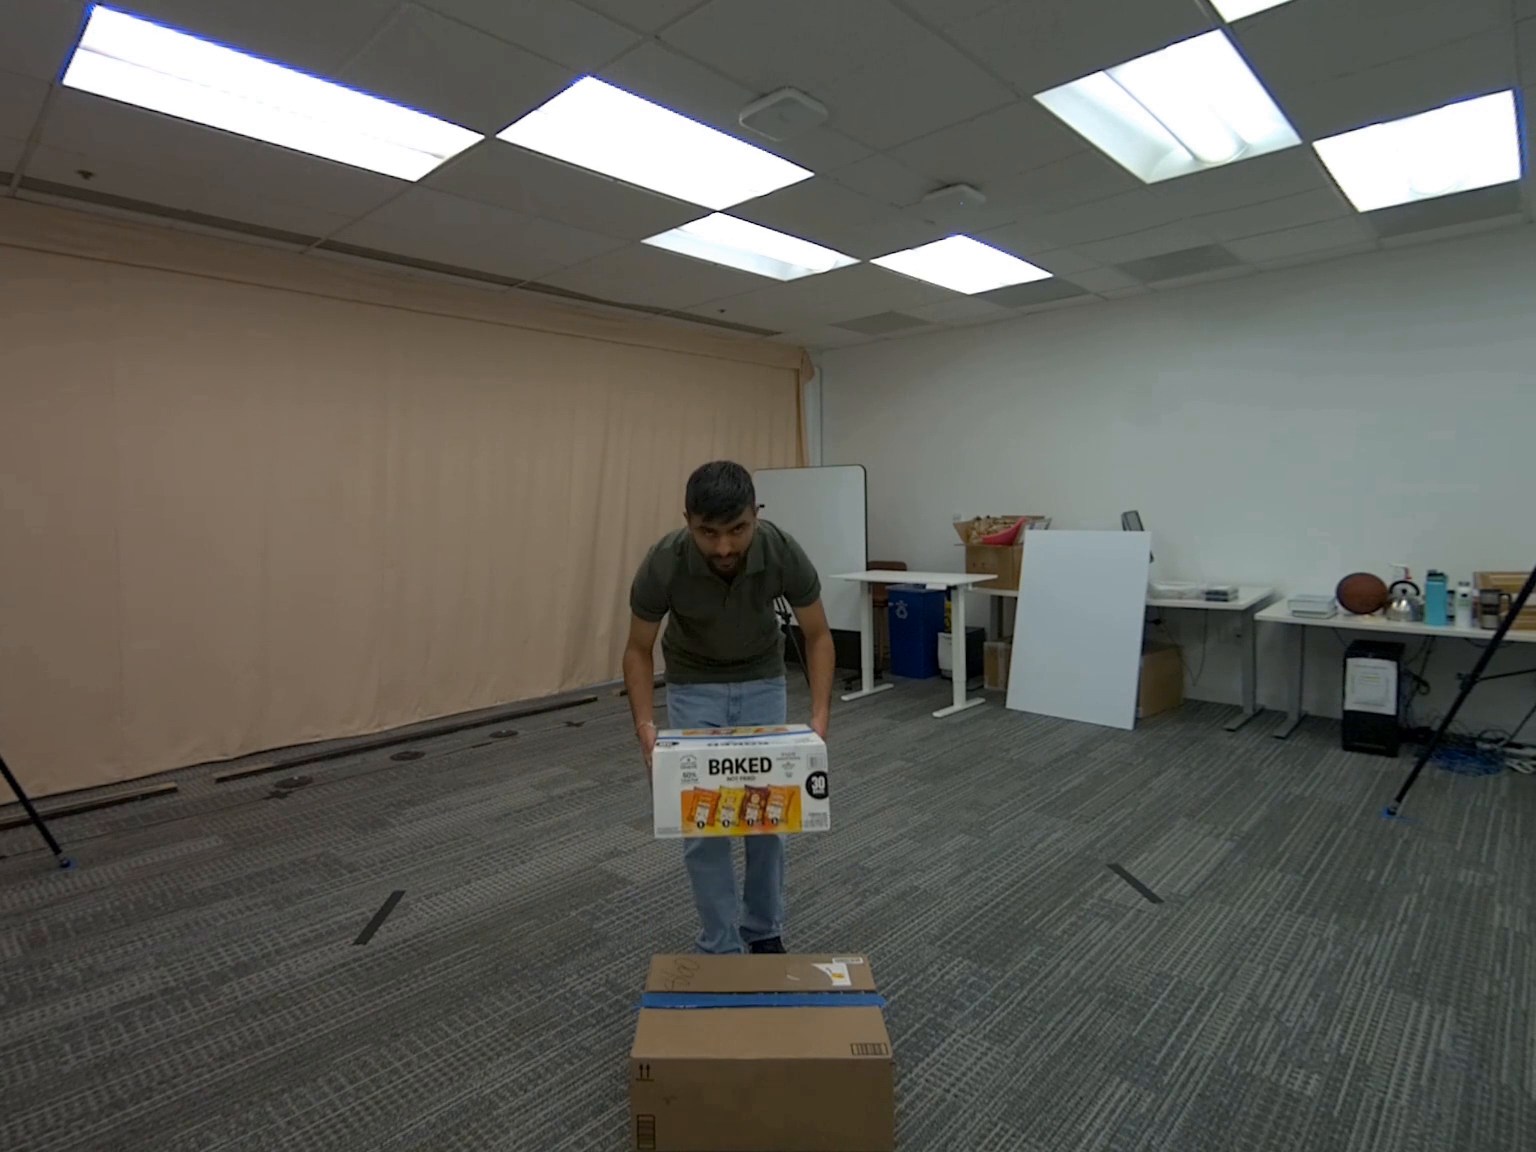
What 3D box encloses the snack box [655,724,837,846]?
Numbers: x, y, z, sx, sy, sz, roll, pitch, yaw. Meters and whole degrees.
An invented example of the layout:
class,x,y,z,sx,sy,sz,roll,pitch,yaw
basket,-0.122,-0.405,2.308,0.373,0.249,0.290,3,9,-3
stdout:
class,x,y,z,sx,sy,sz,roll,pitch,yaw
snack box,-0.069,0.503,2.096,0.404,0.206,0.341,-2,-2,-4
